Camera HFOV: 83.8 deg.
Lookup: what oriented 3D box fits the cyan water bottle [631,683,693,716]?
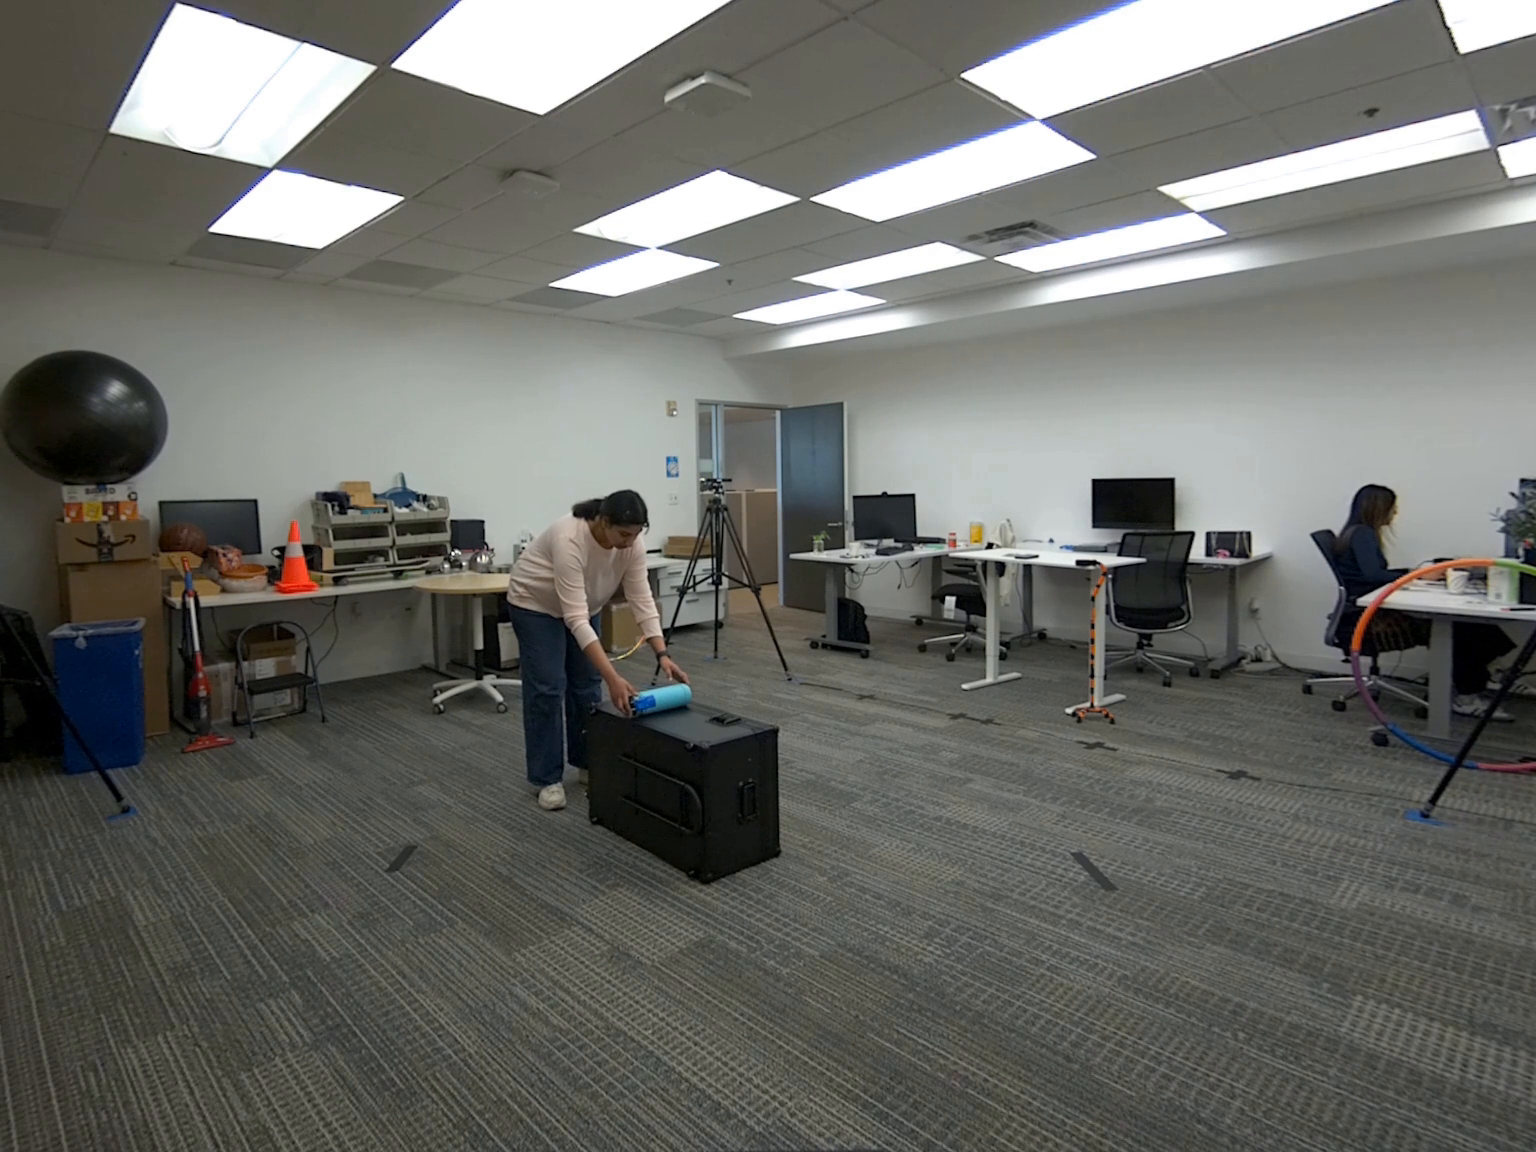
[{"bbox_3d":[-0.439,0.489,3.379,0.276,0.092,0.095,-7,7,-40],"label":"cyan water bottle"}]
